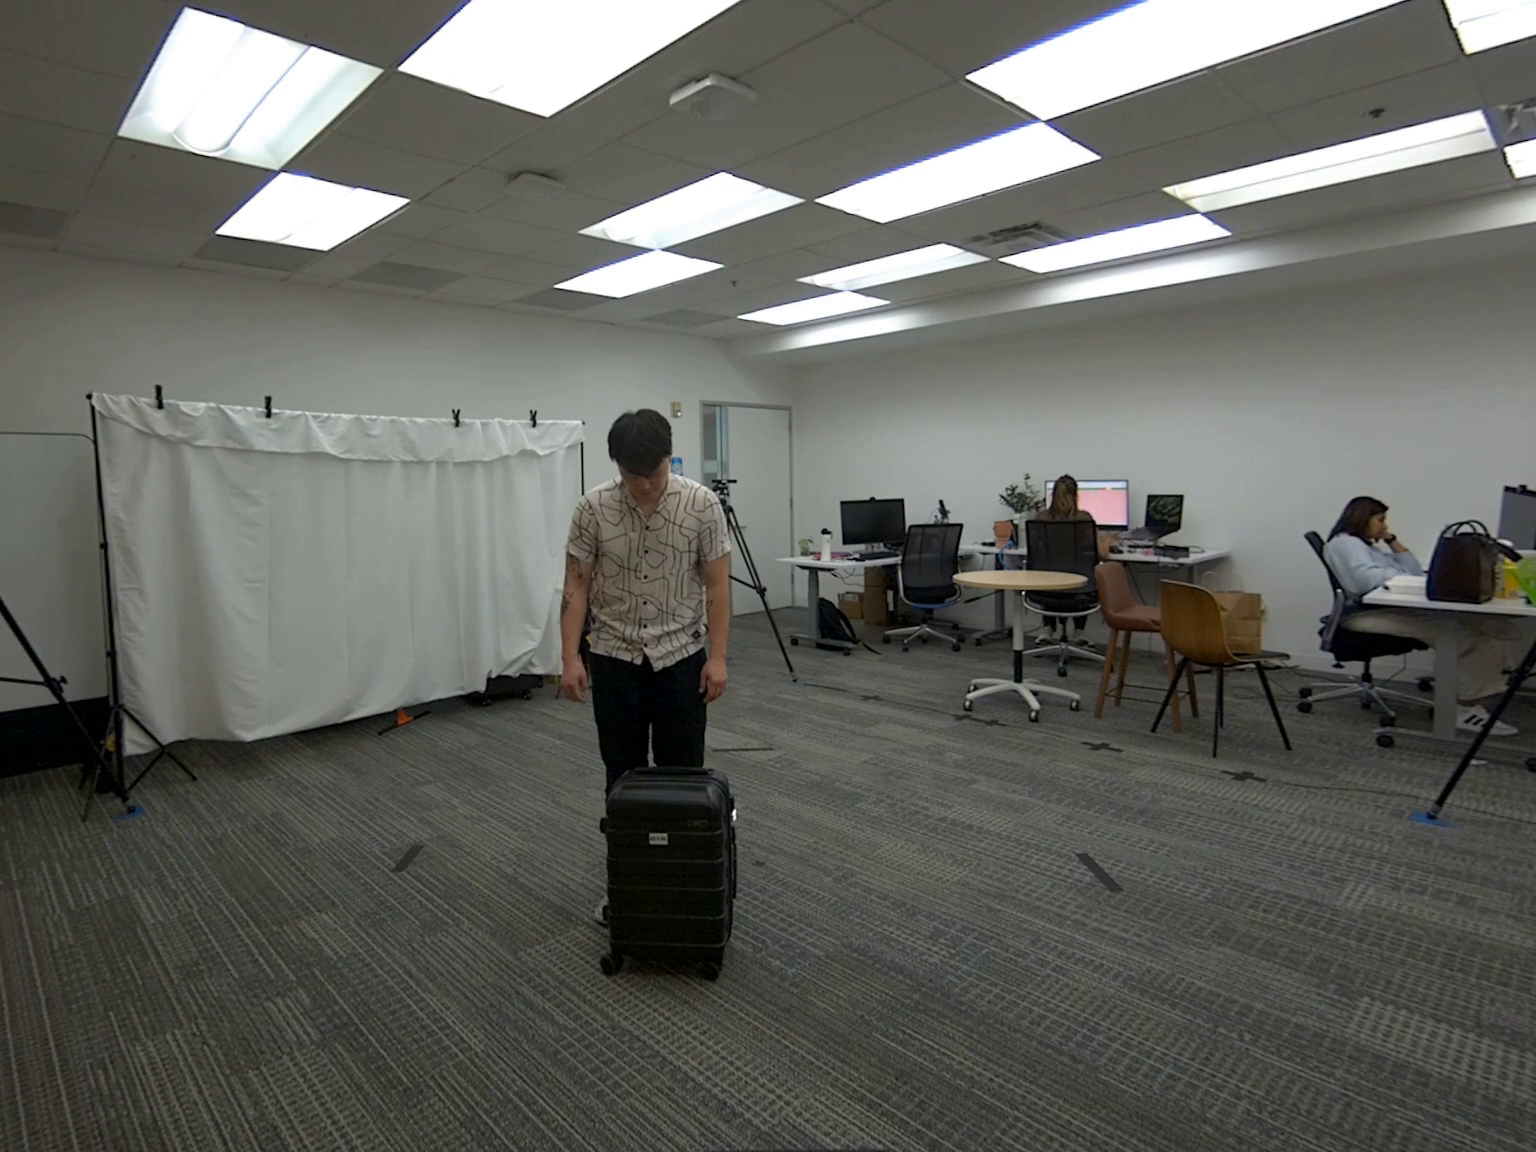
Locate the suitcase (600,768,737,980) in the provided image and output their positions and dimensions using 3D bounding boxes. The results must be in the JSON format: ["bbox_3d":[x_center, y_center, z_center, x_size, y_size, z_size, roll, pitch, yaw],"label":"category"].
[{"bbox_3d":[-0.280,0.850,2.500,0.377,0.547,0.248,0,4,4],"label":"suitcase"}]
